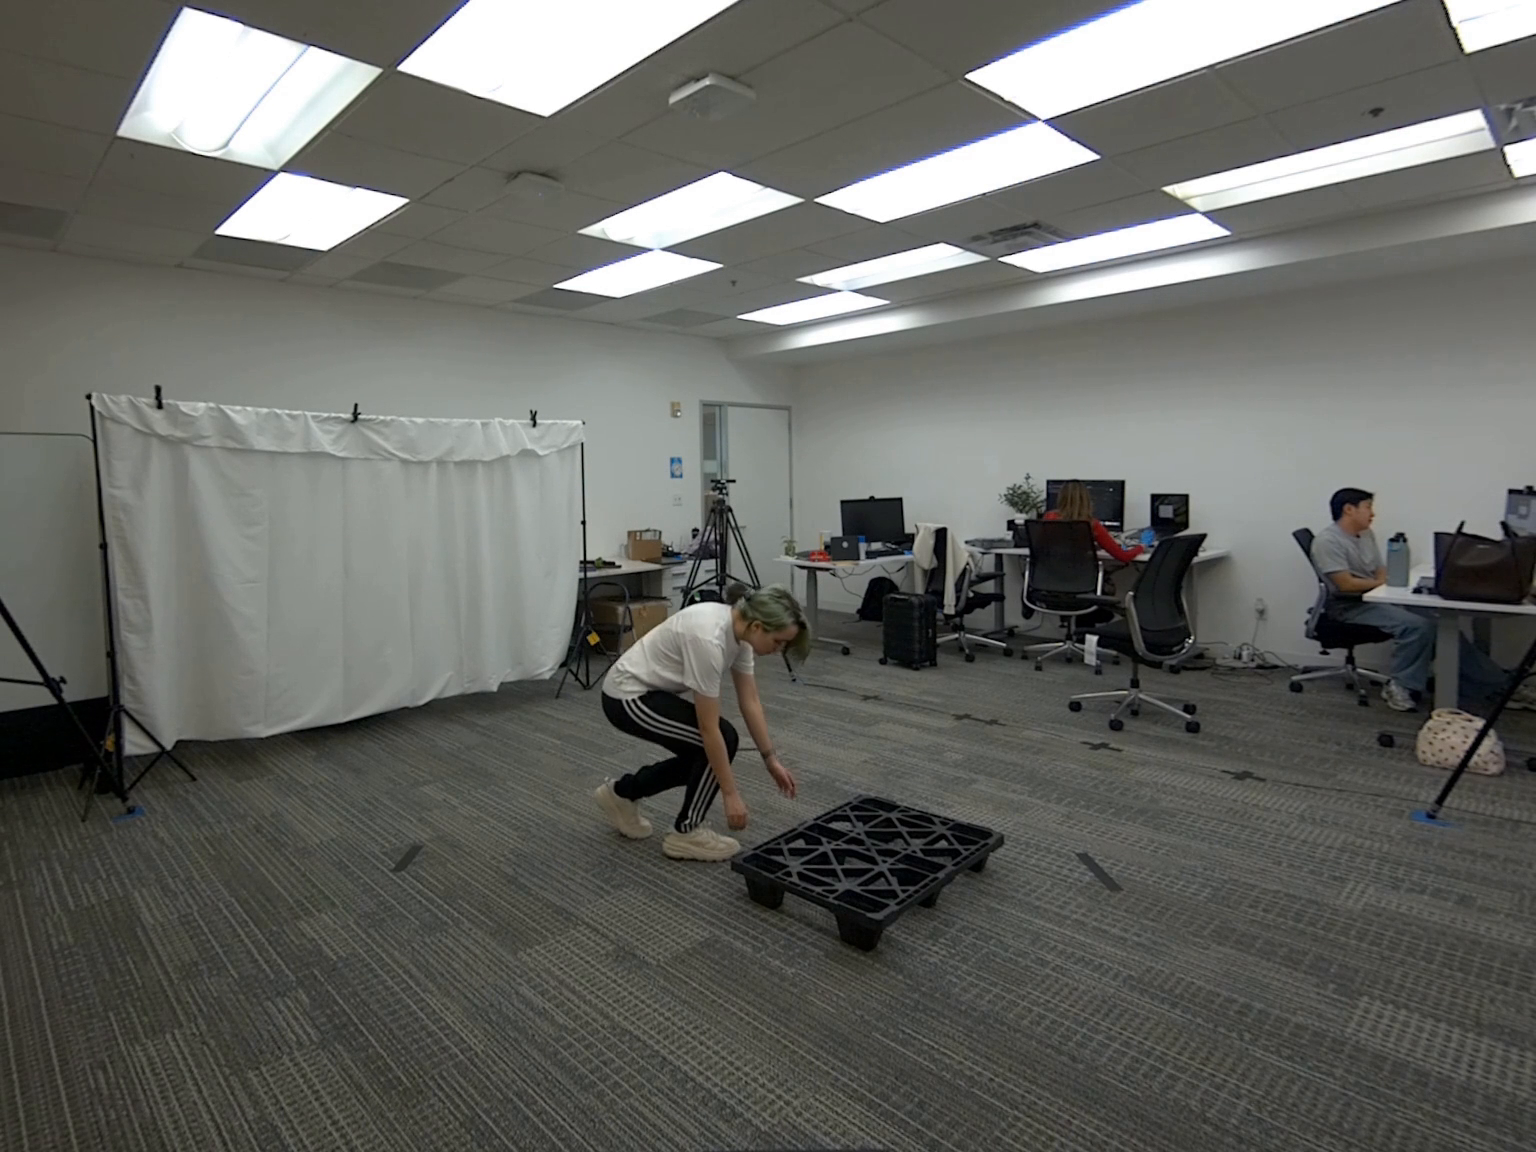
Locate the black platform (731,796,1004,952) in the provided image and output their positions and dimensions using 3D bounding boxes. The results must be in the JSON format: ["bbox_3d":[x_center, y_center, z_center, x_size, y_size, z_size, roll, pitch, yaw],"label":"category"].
[{"bbox_3d":[0.354,0.995,2.928,0.624,0.143,0.785,4,8,42],"label":"black platform"}]
